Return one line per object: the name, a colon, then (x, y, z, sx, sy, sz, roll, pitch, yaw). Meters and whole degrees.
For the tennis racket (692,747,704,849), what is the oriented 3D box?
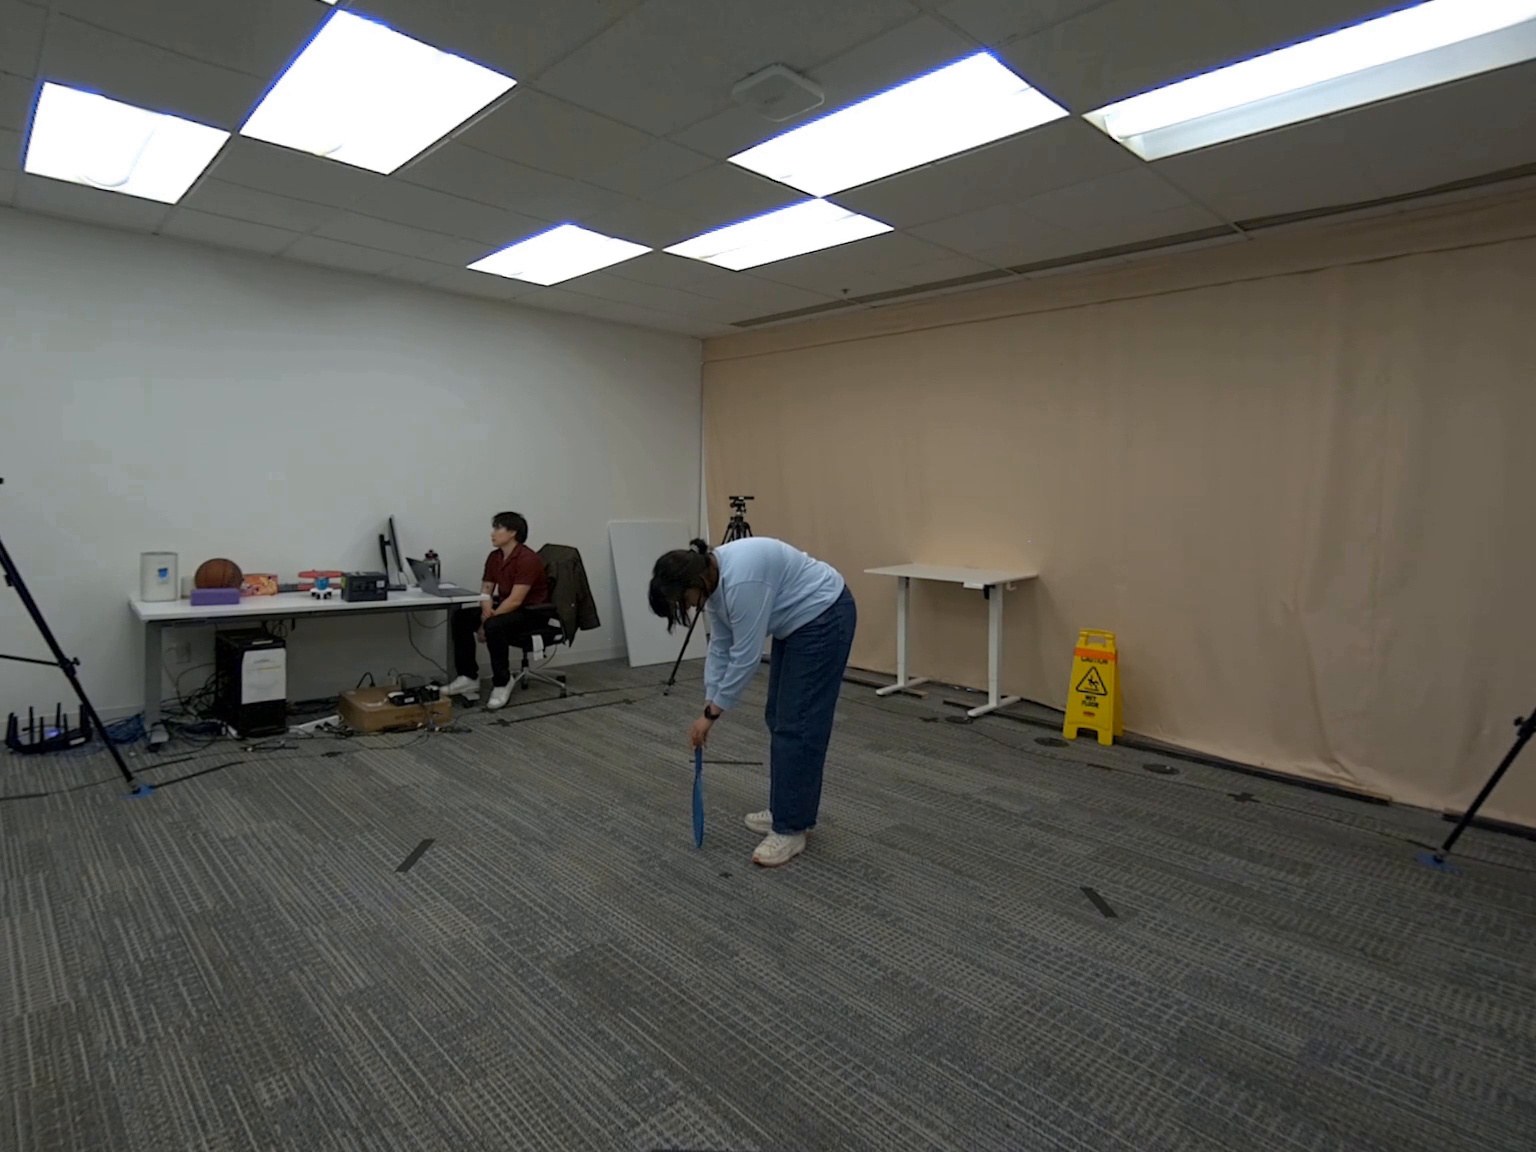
tennis racket: (-0.272, 0.863, 3.336, 0.031, 0.428, 0.217, 0, 16, -7)
